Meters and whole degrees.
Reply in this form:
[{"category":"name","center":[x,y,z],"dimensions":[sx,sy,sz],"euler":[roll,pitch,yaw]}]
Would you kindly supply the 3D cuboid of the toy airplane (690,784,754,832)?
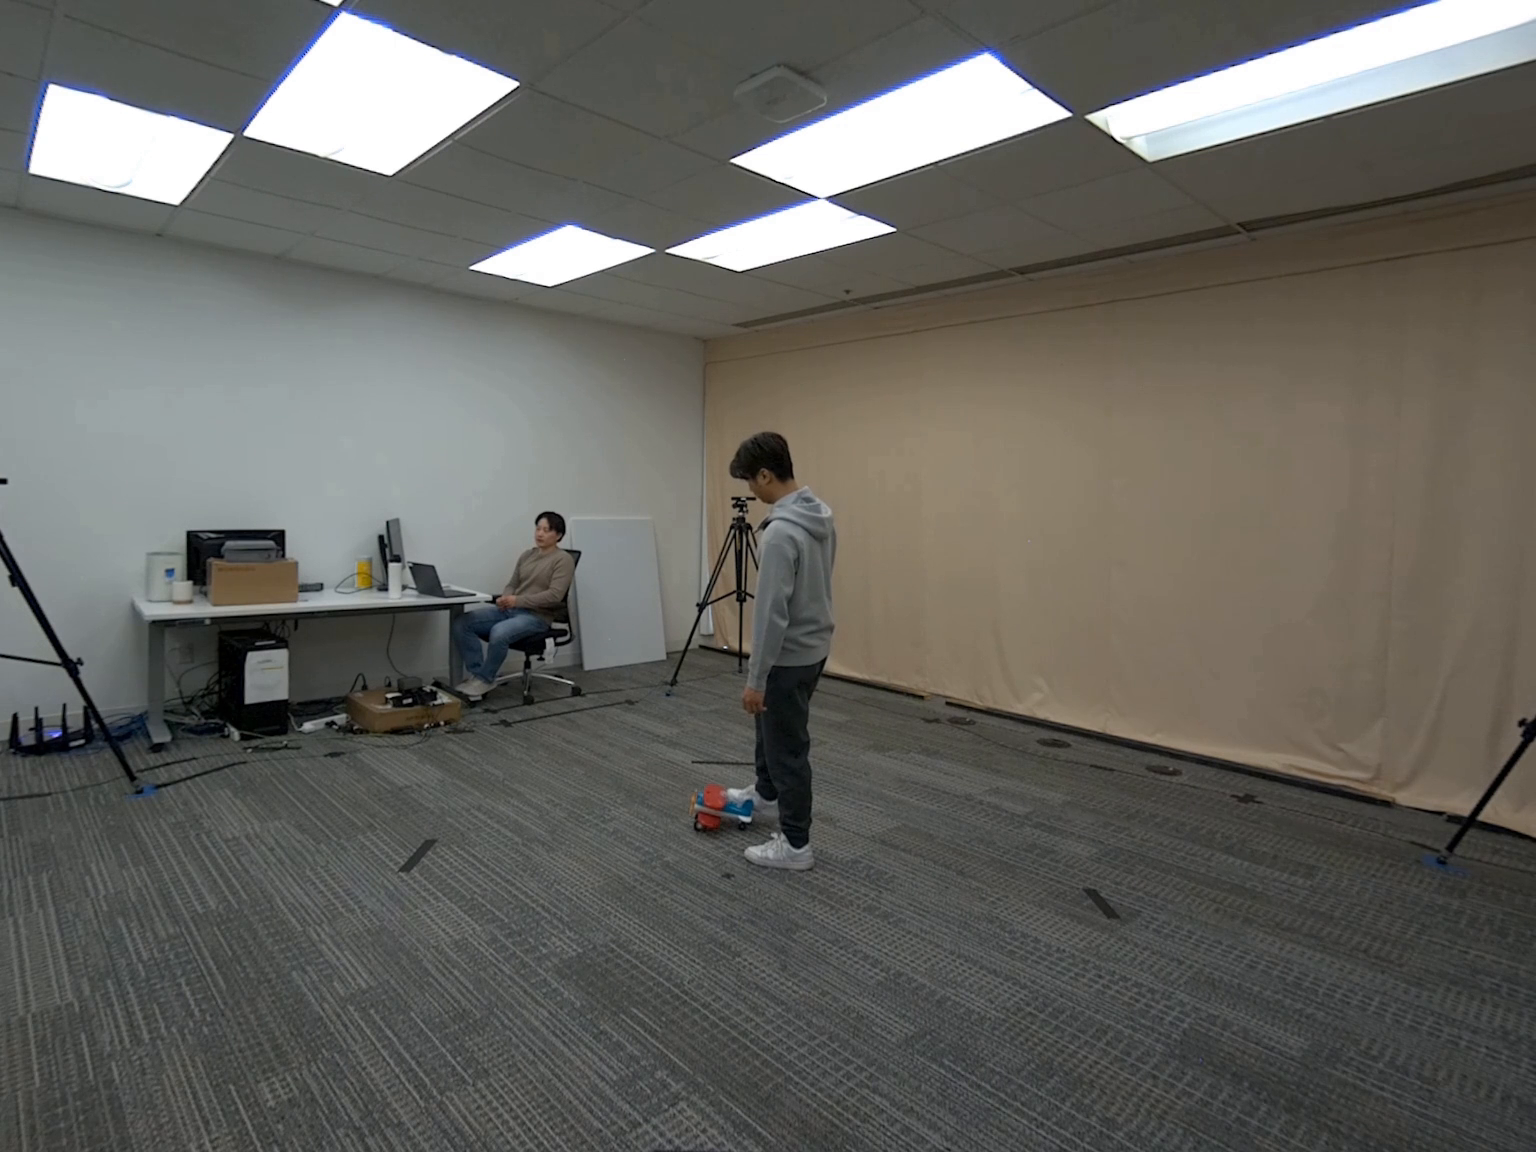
[{"category":"toy airplane","center":[-0.203,0.987,3.571],"dimensions":[0.254,0.156,0.256],"euler":[0,5,-27]}]
